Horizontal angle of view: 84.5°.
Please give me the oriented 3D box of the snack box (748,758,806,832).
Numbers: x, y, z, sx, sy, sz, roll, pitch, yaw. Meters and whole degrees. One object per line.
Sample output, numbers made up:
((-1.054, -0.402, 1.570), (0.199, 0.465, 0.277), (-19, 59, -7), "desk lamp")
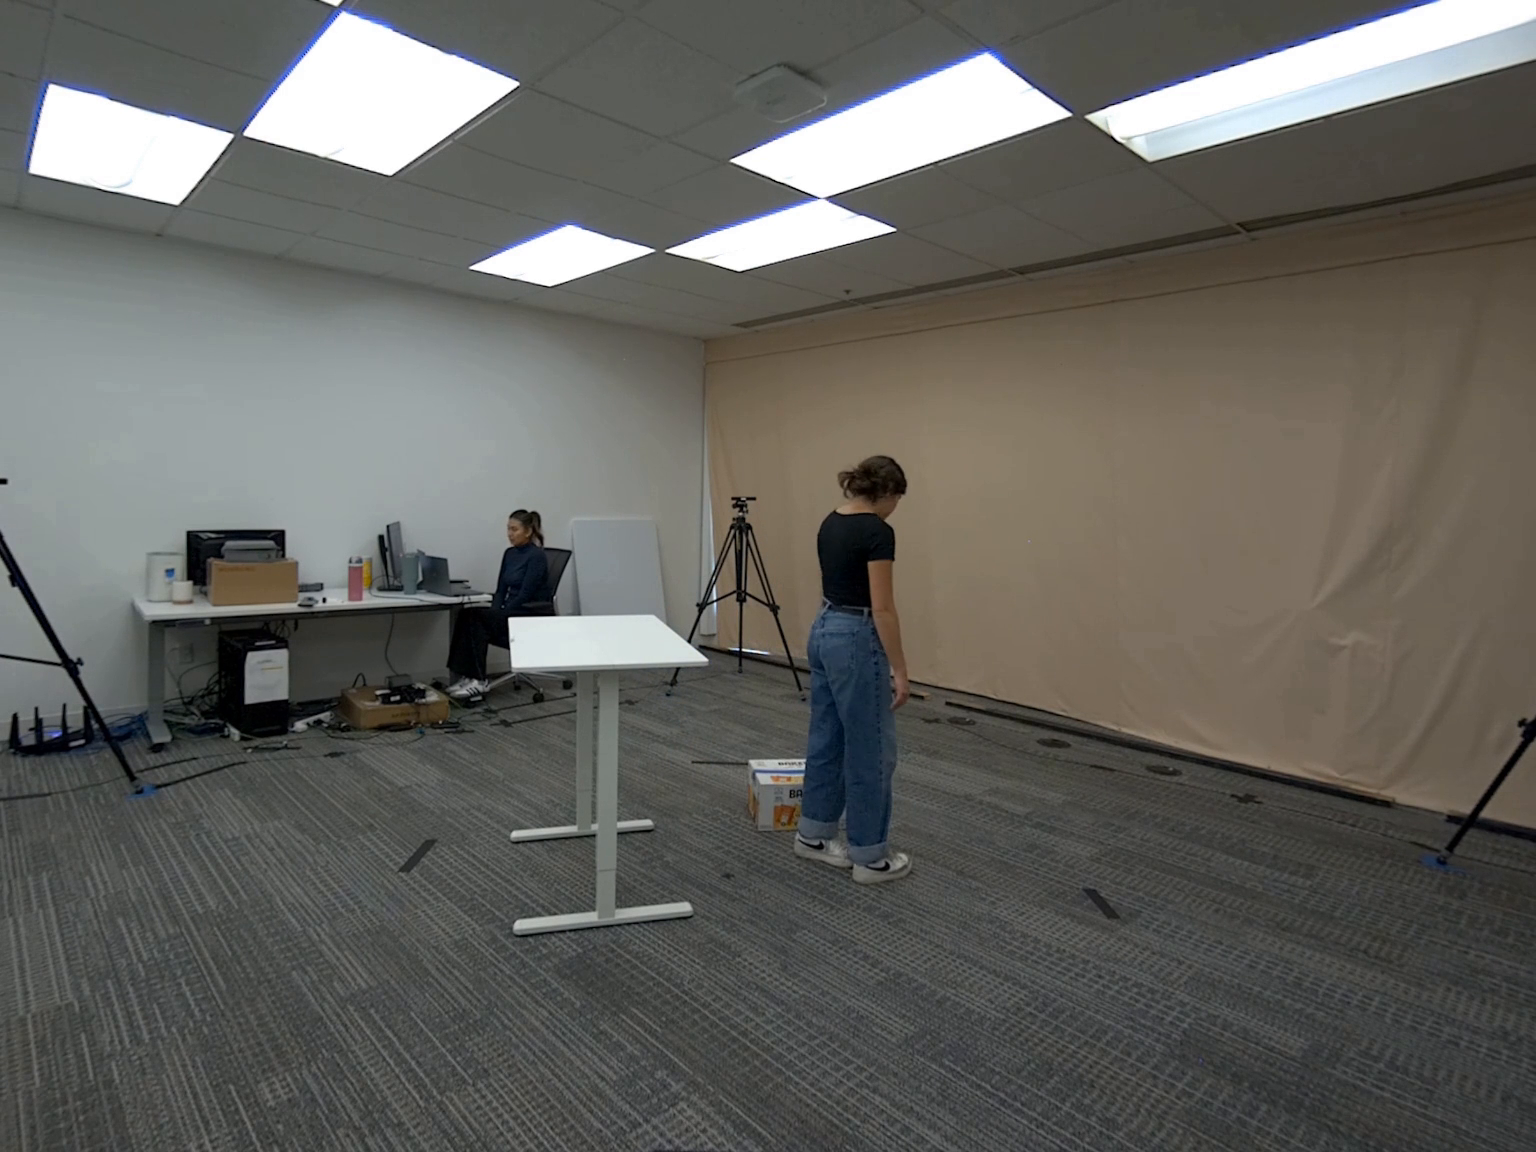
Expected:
((0.125, 0.959, 3.717), (0.402, 0.205, 0.343), (1, 4, -8), "snack box")
